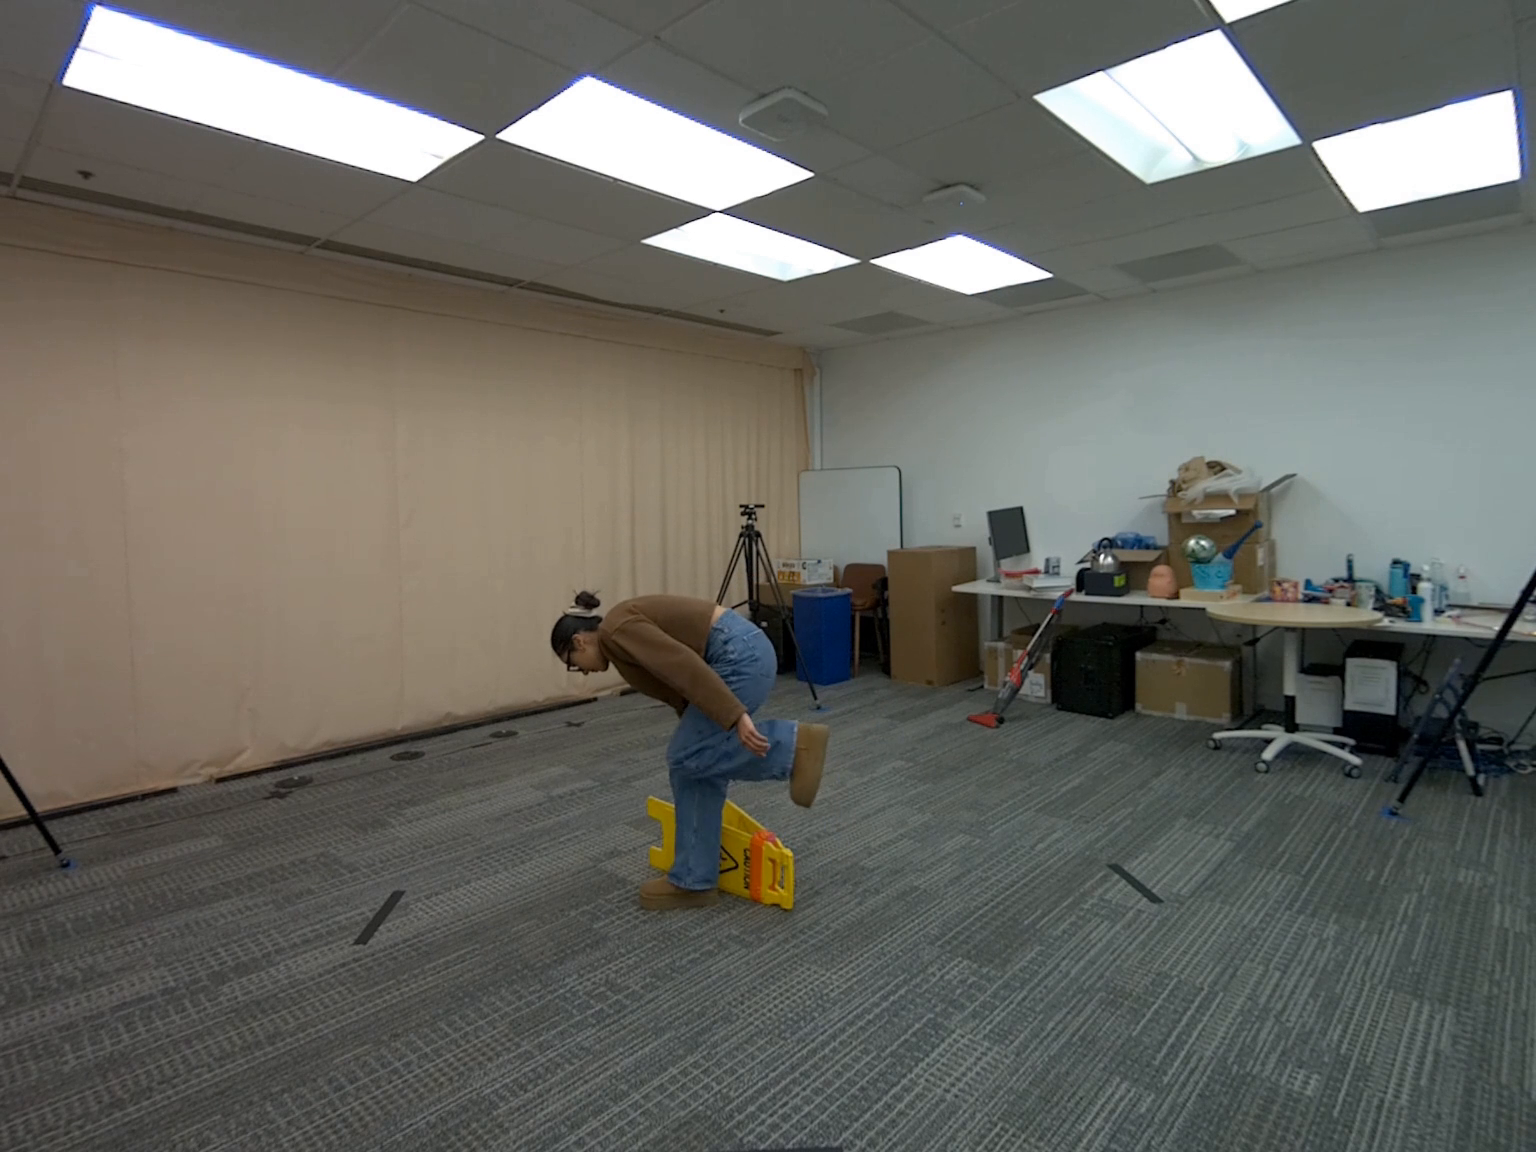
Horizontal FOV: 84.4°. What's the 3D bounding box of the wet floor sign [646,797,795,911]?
[{"bbox_3d":[-0.139,1.005,3.104,0.281,0.281,0.668,-5,9,-42],"label":"wet floor sign"}]
